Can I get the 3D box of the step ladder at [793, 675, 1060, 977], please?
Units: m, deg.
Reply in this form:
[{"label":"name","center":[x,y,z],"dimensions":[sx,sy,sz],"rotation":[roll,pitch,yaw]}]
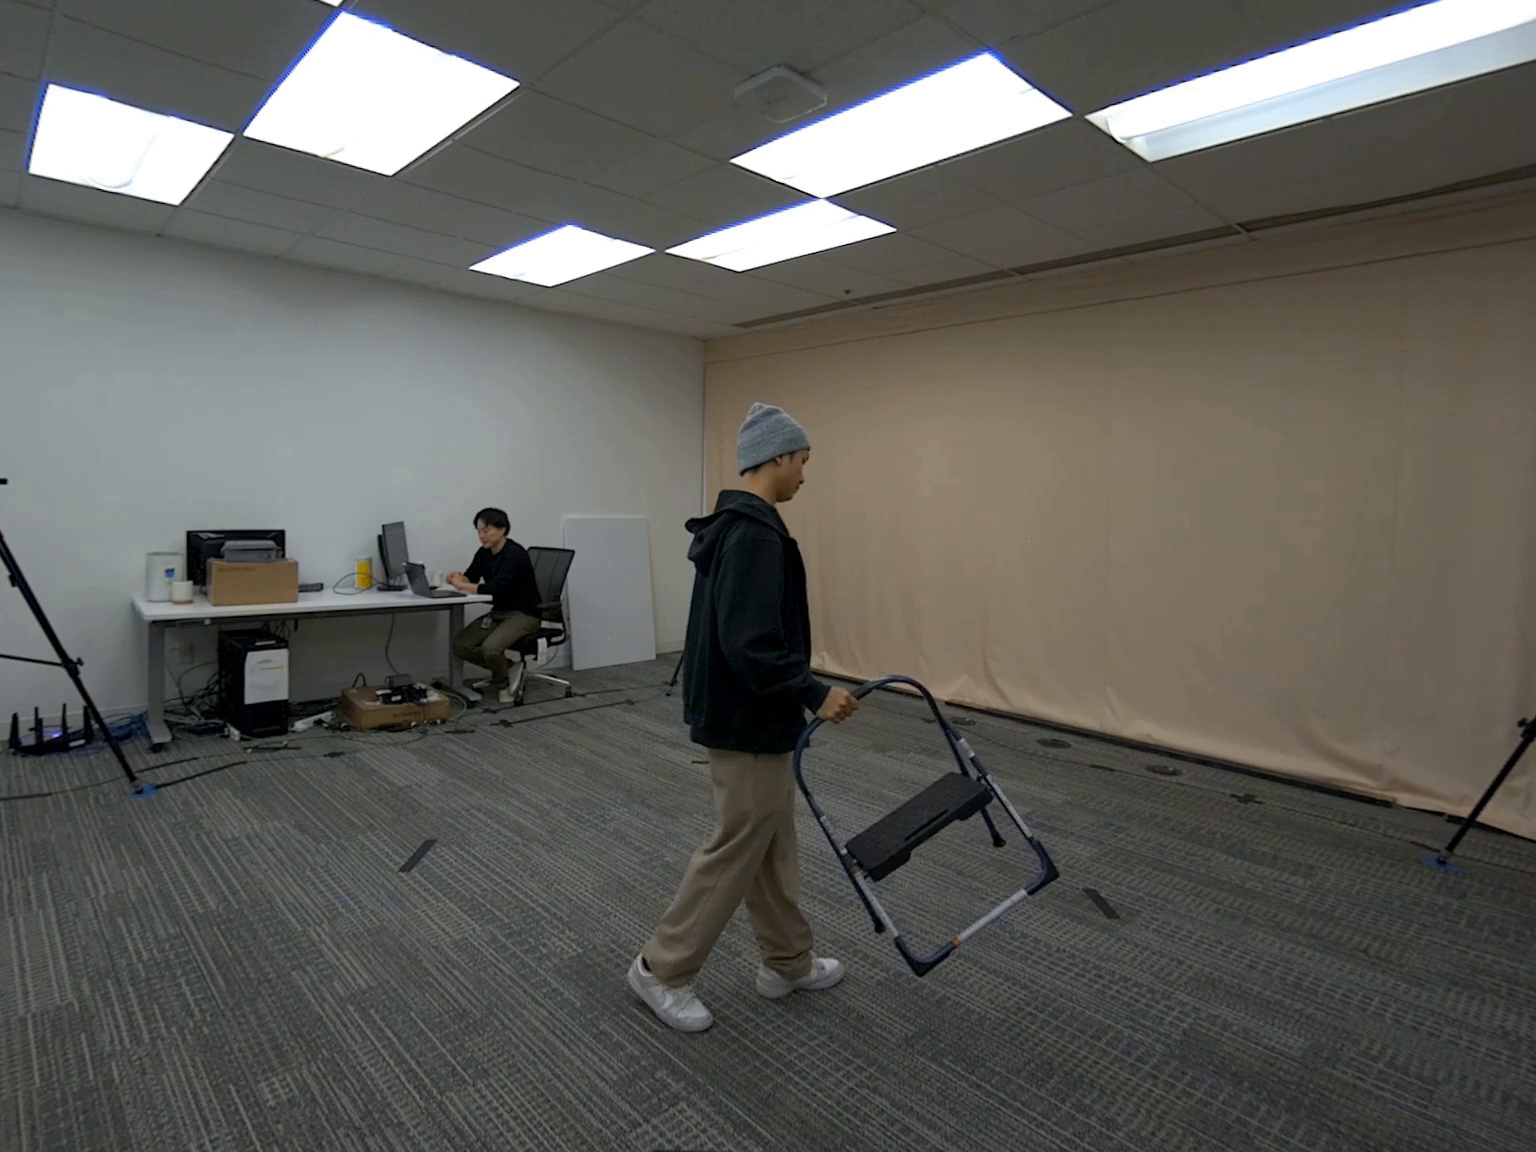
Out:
[{"label":"step ladder","center":[0.320,0.569,2.103],"dimensions":[0.429,0.607,0.350],"rotation":[-32,-1,-10]}]
